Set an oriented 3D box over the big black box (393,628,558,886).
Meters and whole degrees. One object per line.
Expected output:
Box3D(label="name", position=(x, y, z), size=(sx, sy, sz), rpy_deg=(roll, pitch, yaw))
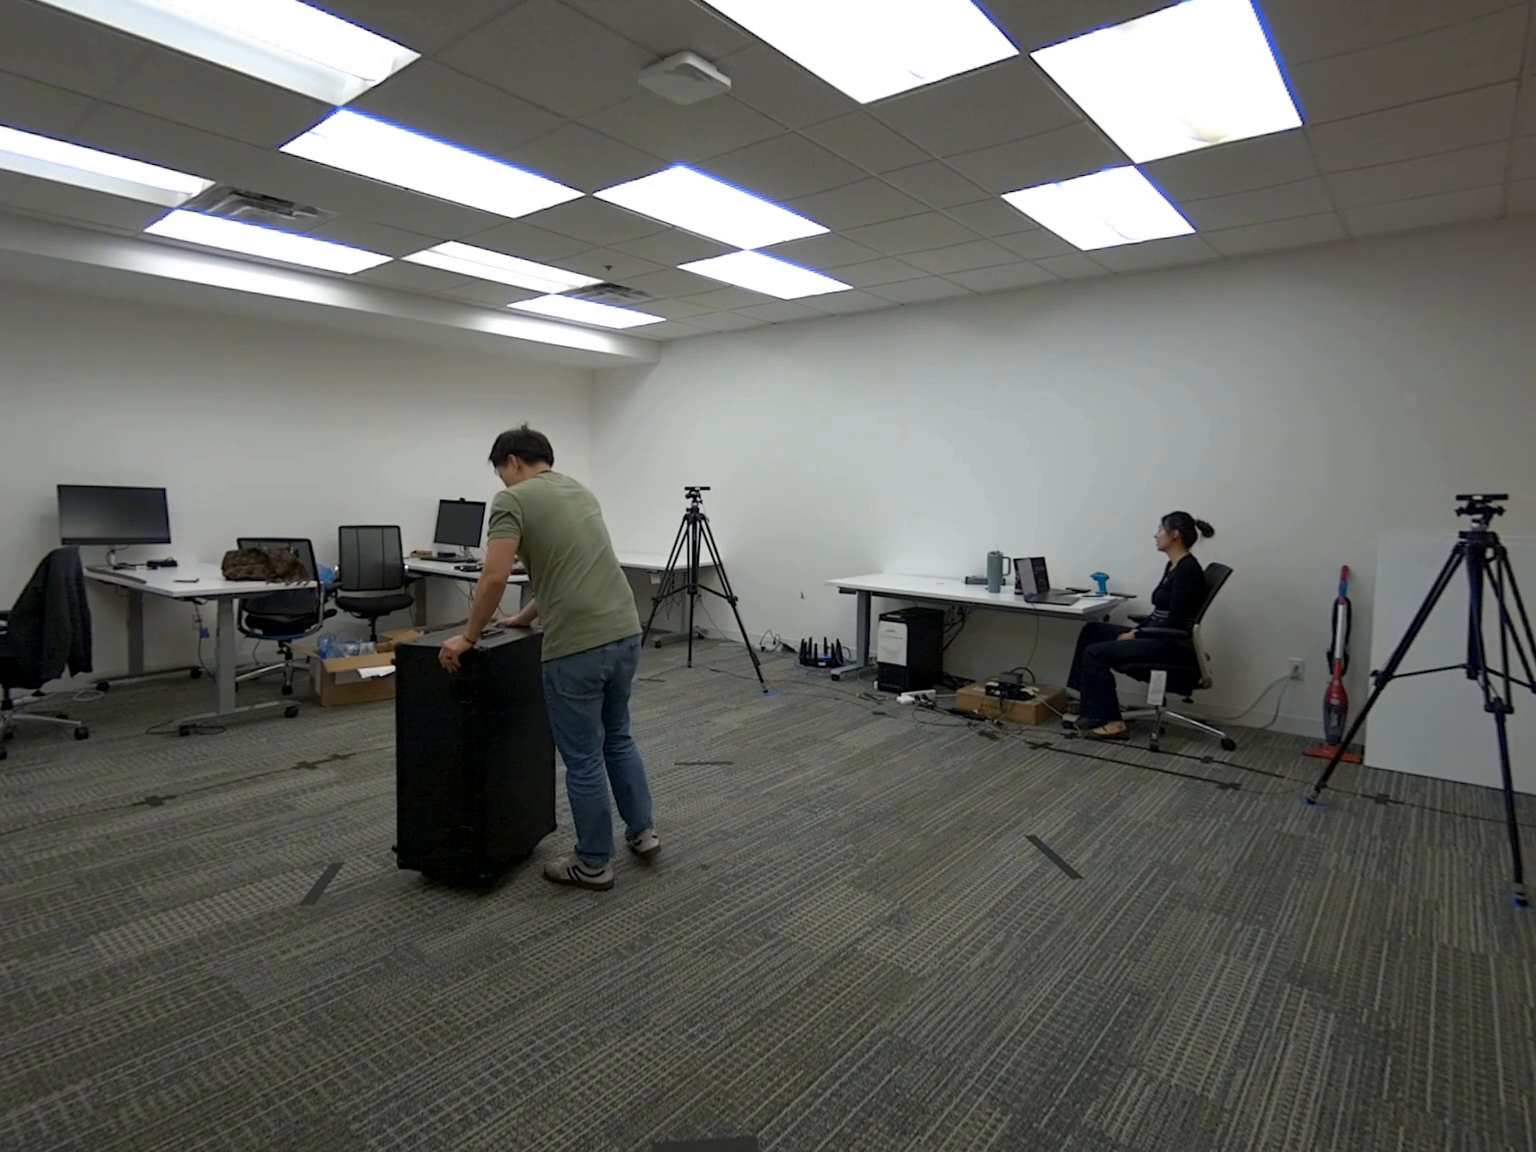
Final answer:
Box3D(label="big black box", position=(-1.070, 0.633, 3.077), size=(0.404, 0.859, 0.513), rpy_deg=(0, 4, 17))
